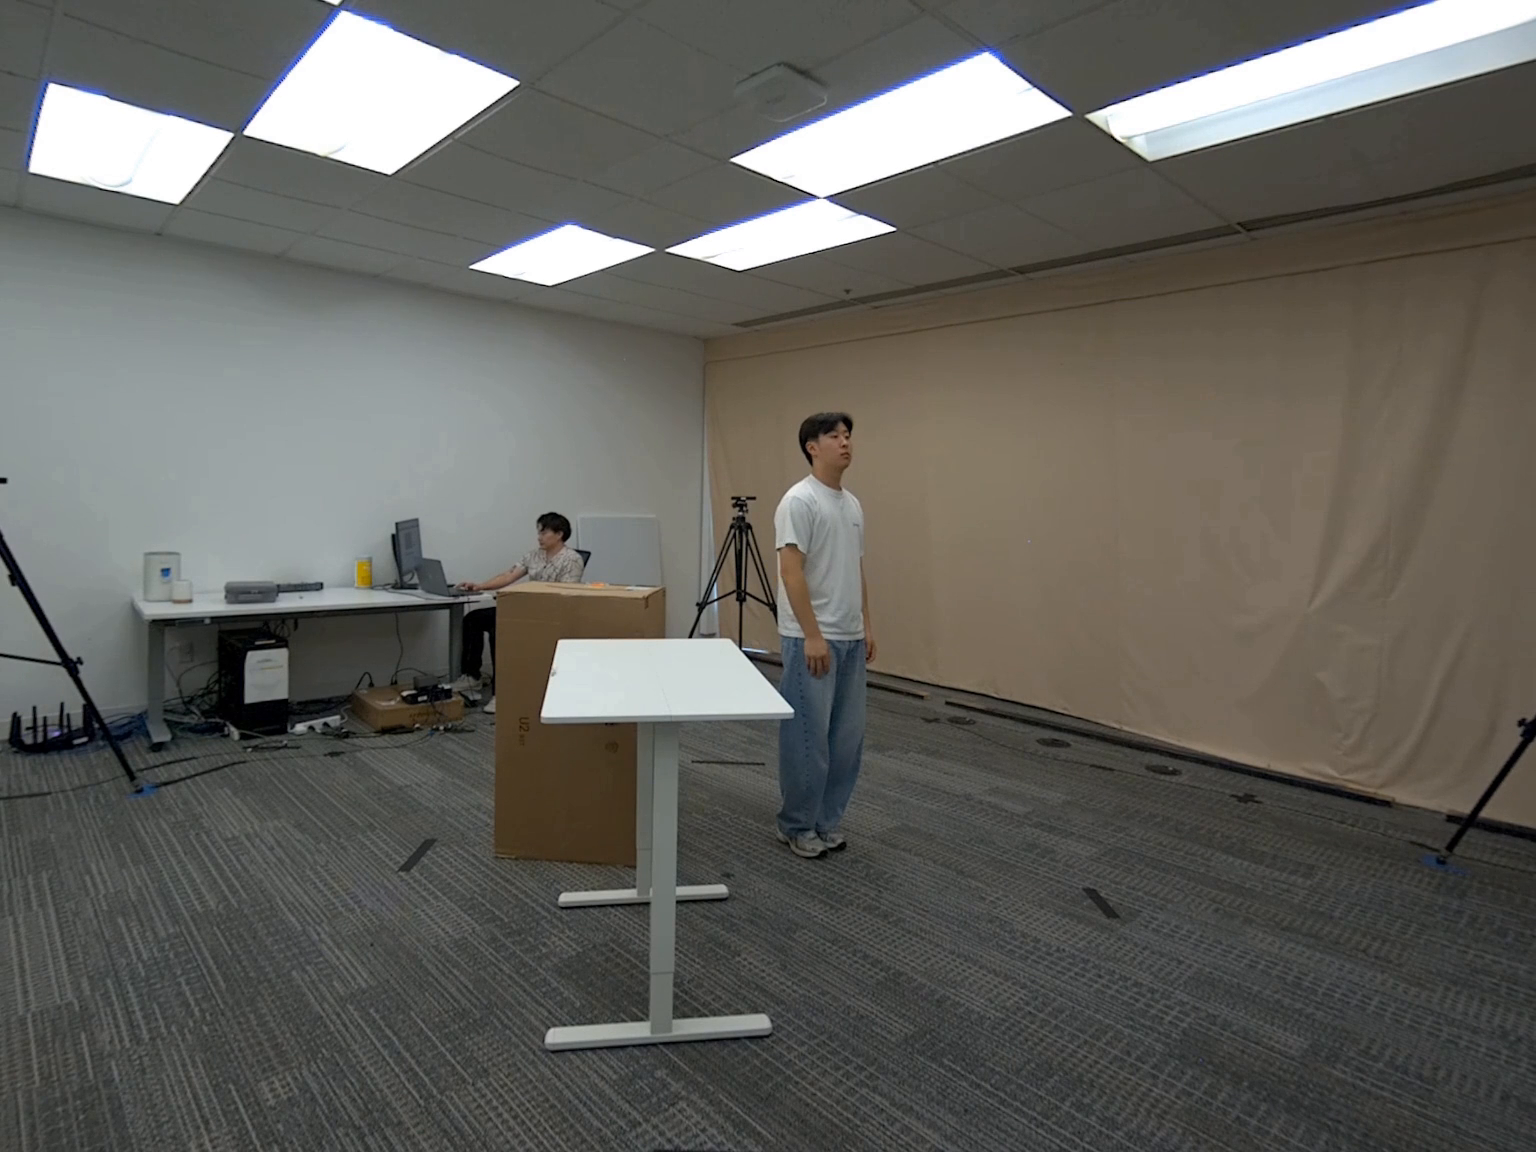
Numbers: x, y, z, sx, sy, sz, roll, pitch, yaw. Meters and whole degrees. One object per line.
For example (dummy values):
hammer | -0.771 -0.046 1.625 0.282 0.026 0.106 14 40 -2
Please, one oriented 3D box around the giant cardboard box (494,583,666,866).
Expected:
giant cardboard box | -0.745 0.560 3.370 0.580 1.023 0.425 2 3 6
